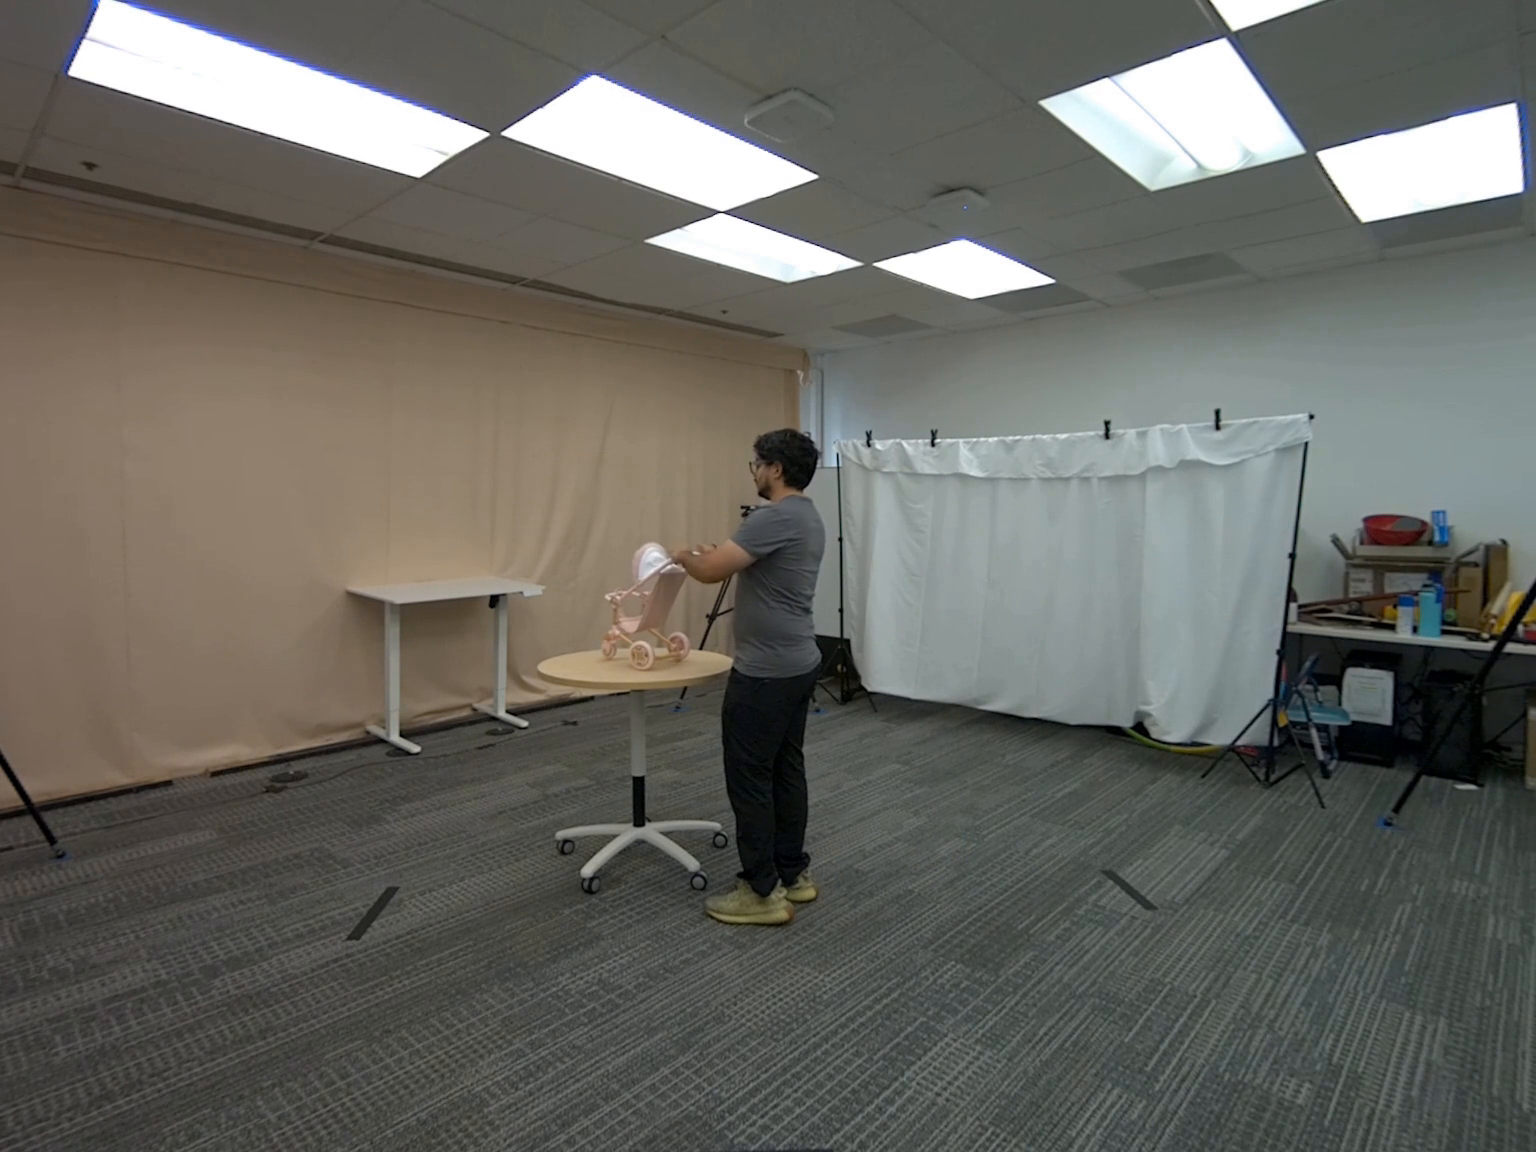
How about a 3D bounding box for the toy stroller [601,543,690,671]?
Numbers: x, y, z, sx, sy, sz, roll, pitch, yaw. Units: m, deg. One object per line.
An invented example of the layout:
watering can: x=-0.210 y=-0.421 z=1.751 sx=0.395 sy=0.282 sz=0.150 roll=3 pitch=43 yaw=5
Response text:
toy stroller: x=-0.474 y=0.113 z=3.260 sx=0.352 sy=0.533 sz=0.273 roll=19 pitch=12 yaw=31
